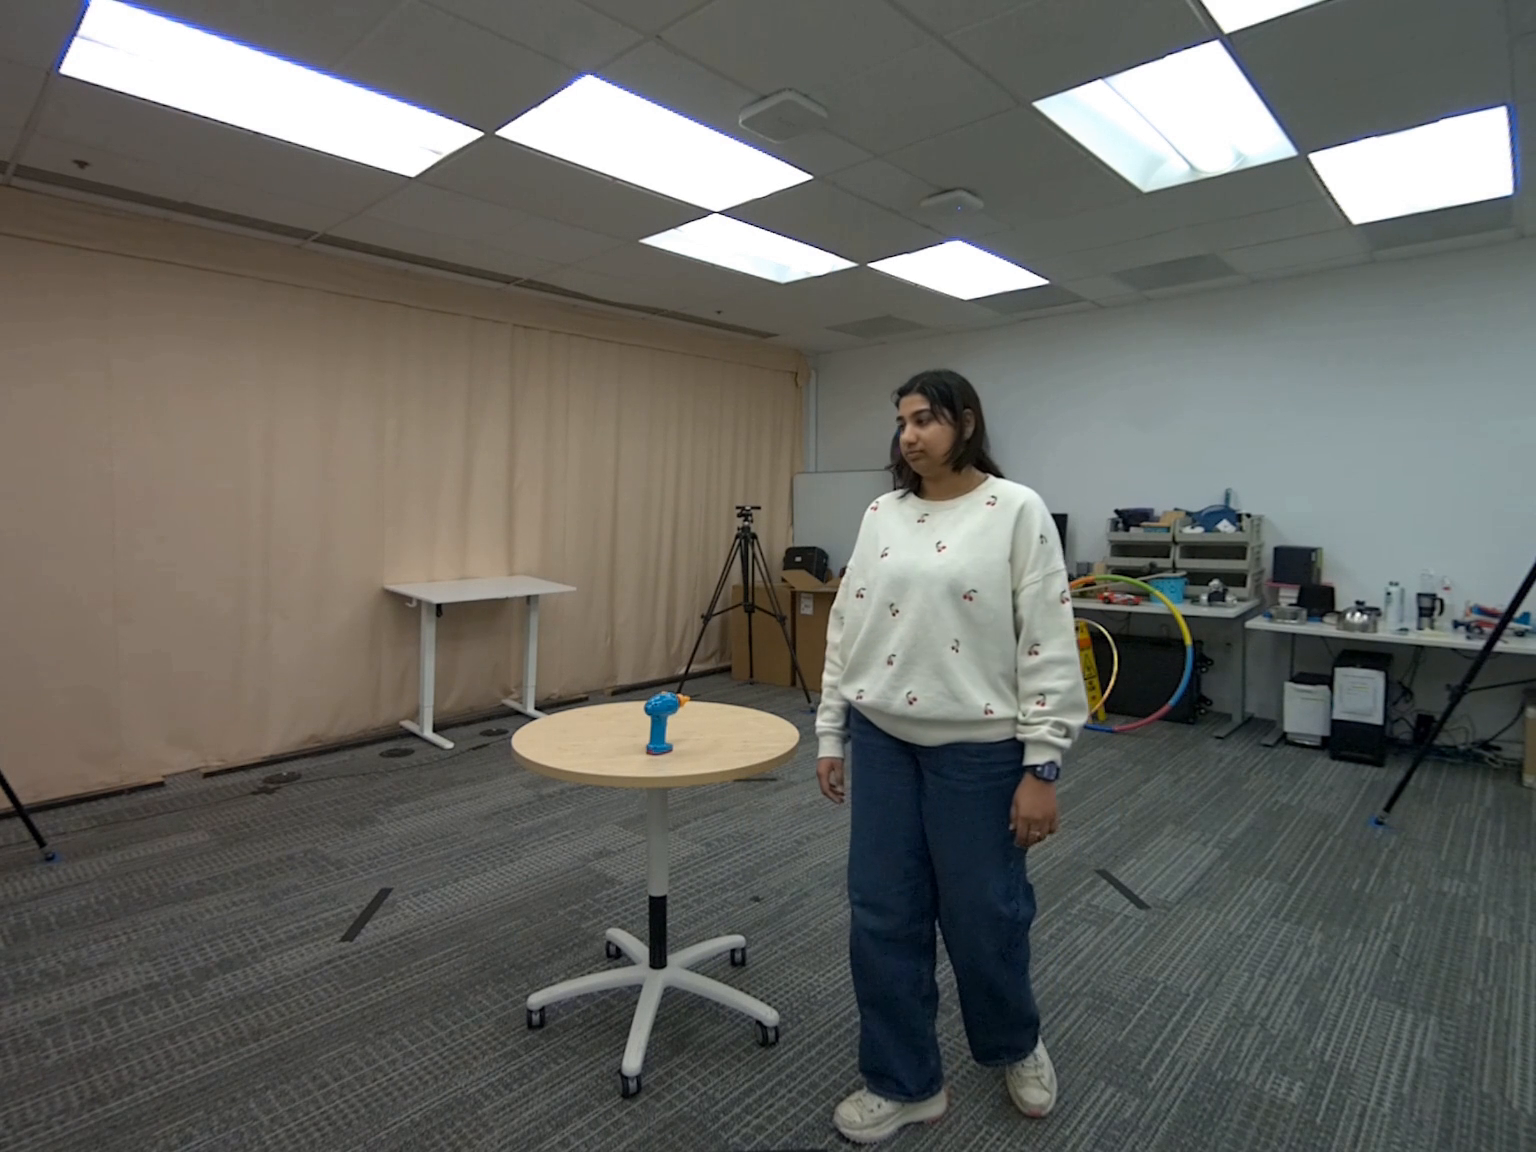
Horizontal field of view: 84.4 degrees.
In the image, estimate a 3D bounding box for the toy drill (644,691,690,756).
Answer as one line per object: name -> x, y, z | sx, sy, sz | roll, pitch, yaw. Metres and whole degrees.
toy drill -> -0.254, 0.363, 2.104 | 0.063, 0.146, 0.166 | -3, 3, 26
